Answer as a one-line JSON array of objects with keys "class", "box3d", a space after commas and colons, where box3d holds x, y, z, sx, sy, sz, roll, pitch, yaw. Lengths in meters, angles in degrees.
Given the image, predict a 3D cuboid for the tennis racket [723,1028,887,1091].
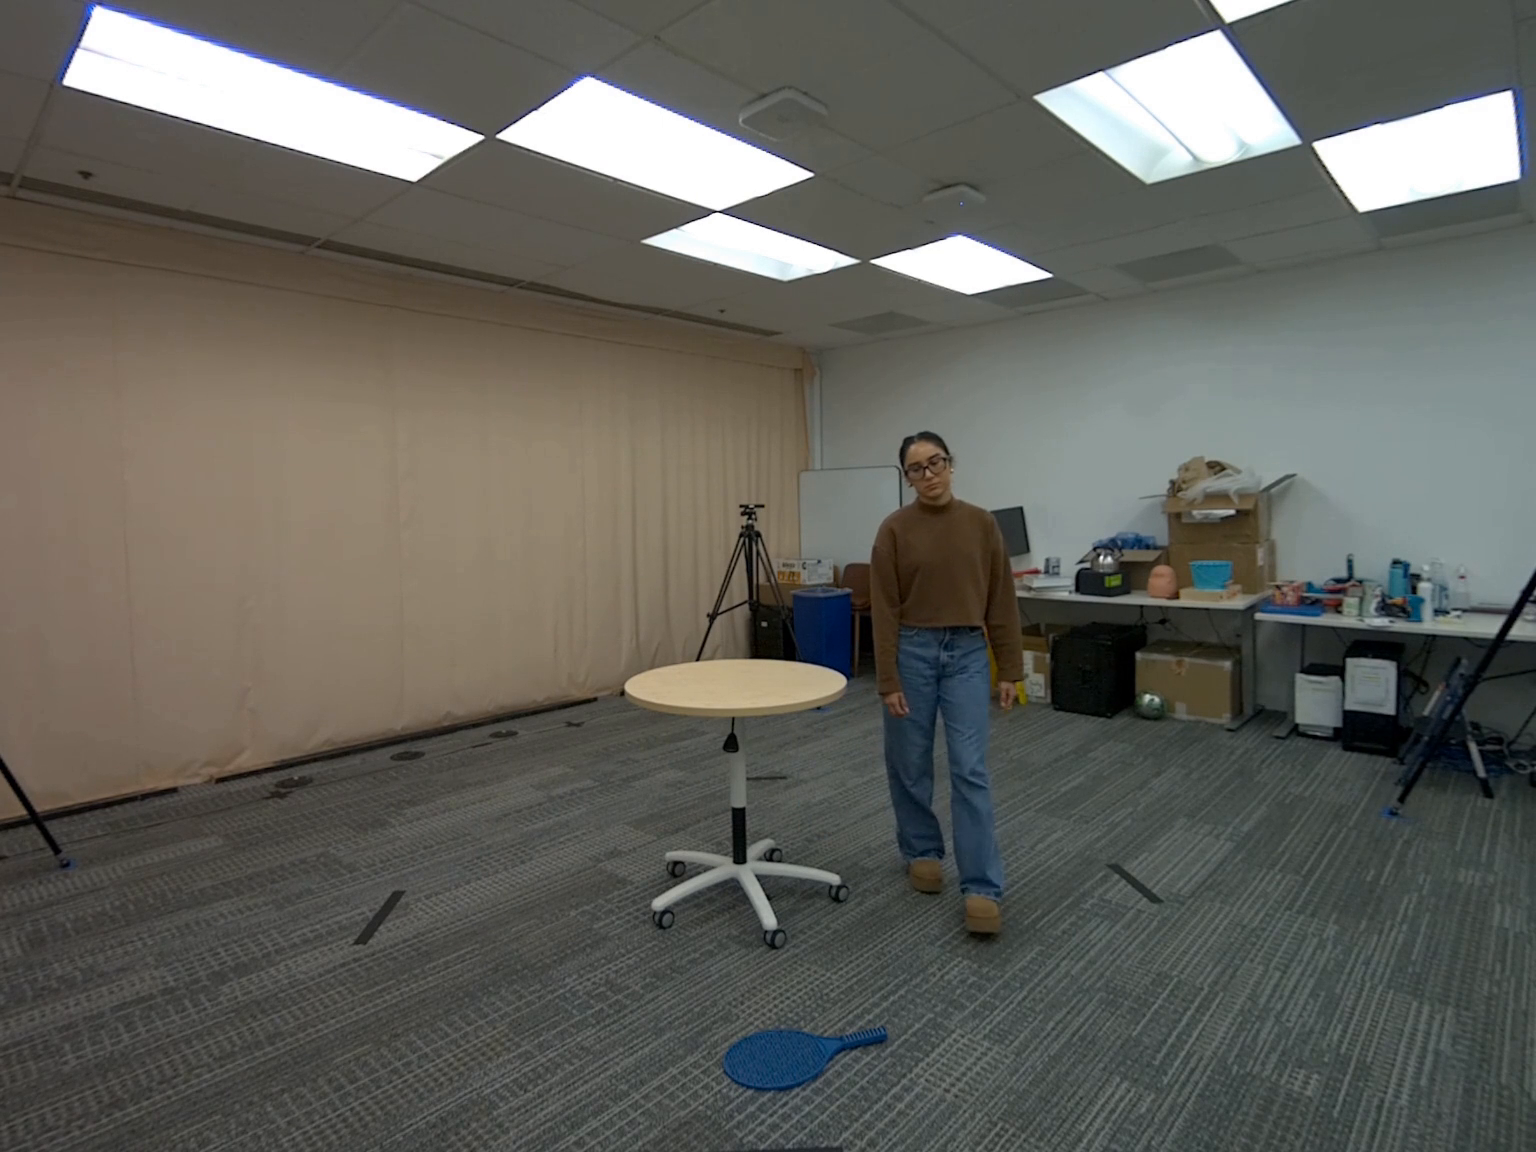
[{"class": "tennis racket", "box3d": [0.106, 1.203, 2.118, 0.427, 0.031, 0.217, -4, 6, -14]}]
